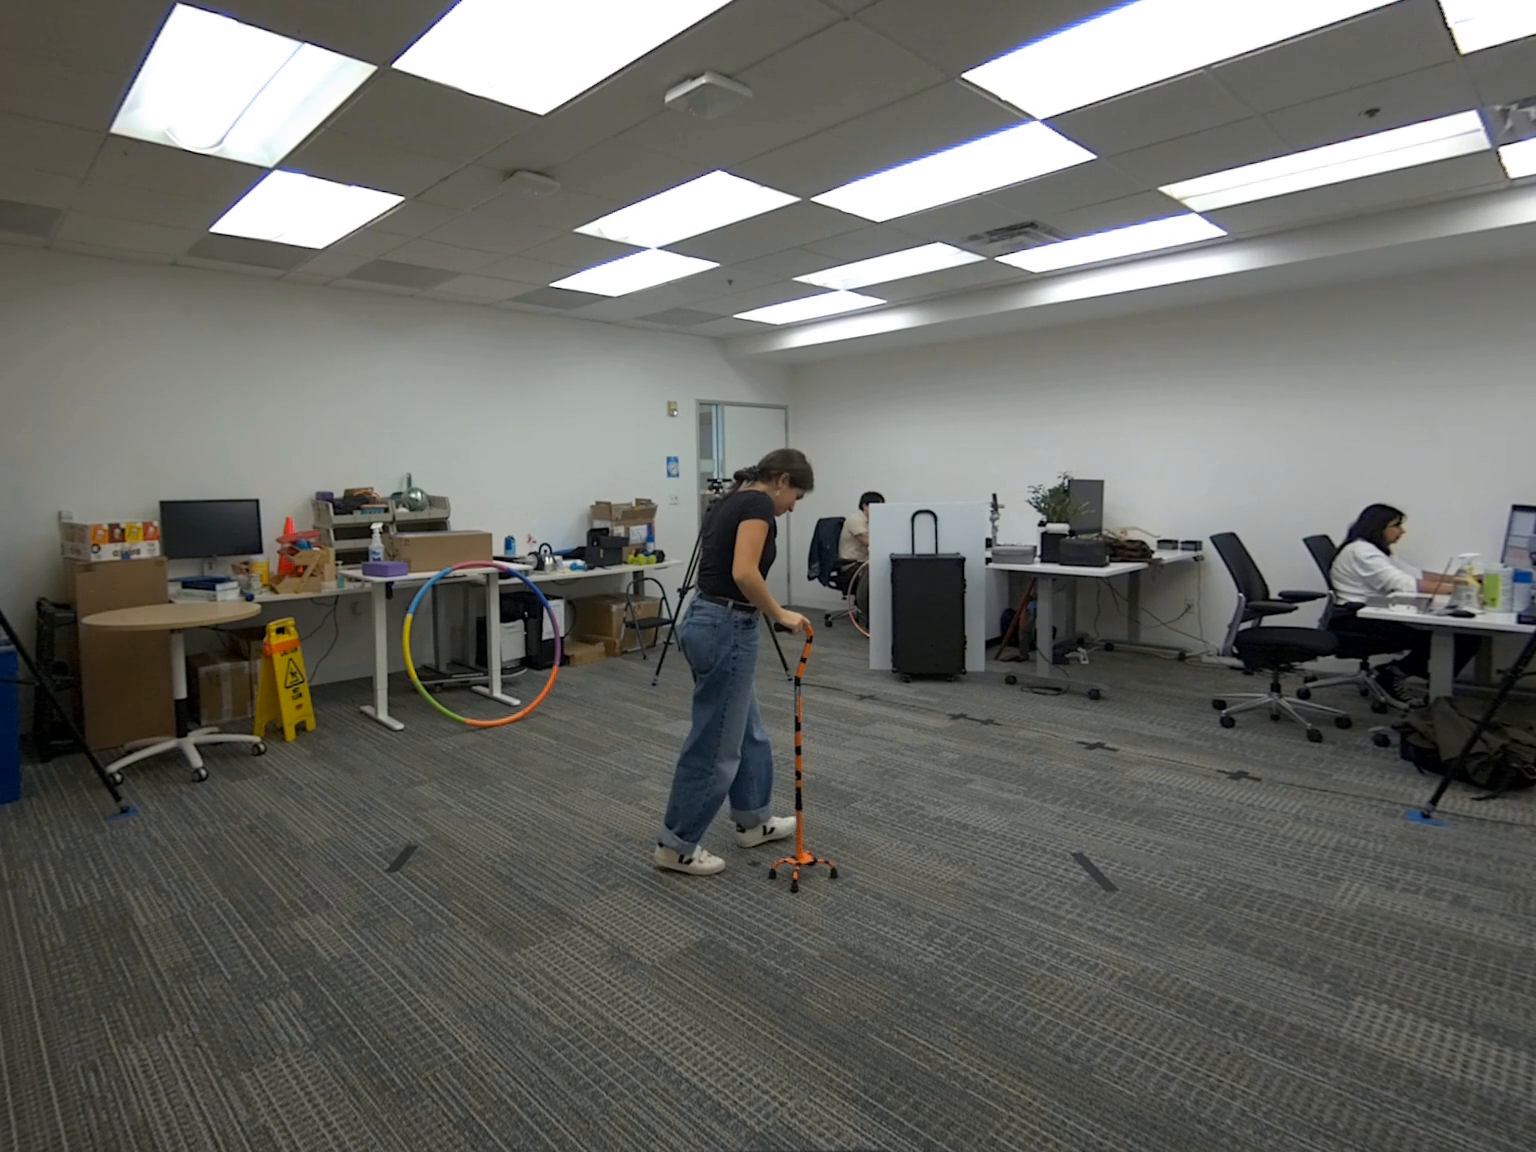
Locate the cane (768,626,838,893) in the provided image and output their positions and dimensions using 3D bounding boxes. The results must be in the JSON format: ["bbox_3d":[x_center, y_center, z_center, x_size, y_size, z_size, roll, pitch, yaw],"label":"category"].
[{"bbox_3d":[0.117,0.596,2.963,0.201,0.905,0.156,-3,5,-37],"label":"cane"}]
